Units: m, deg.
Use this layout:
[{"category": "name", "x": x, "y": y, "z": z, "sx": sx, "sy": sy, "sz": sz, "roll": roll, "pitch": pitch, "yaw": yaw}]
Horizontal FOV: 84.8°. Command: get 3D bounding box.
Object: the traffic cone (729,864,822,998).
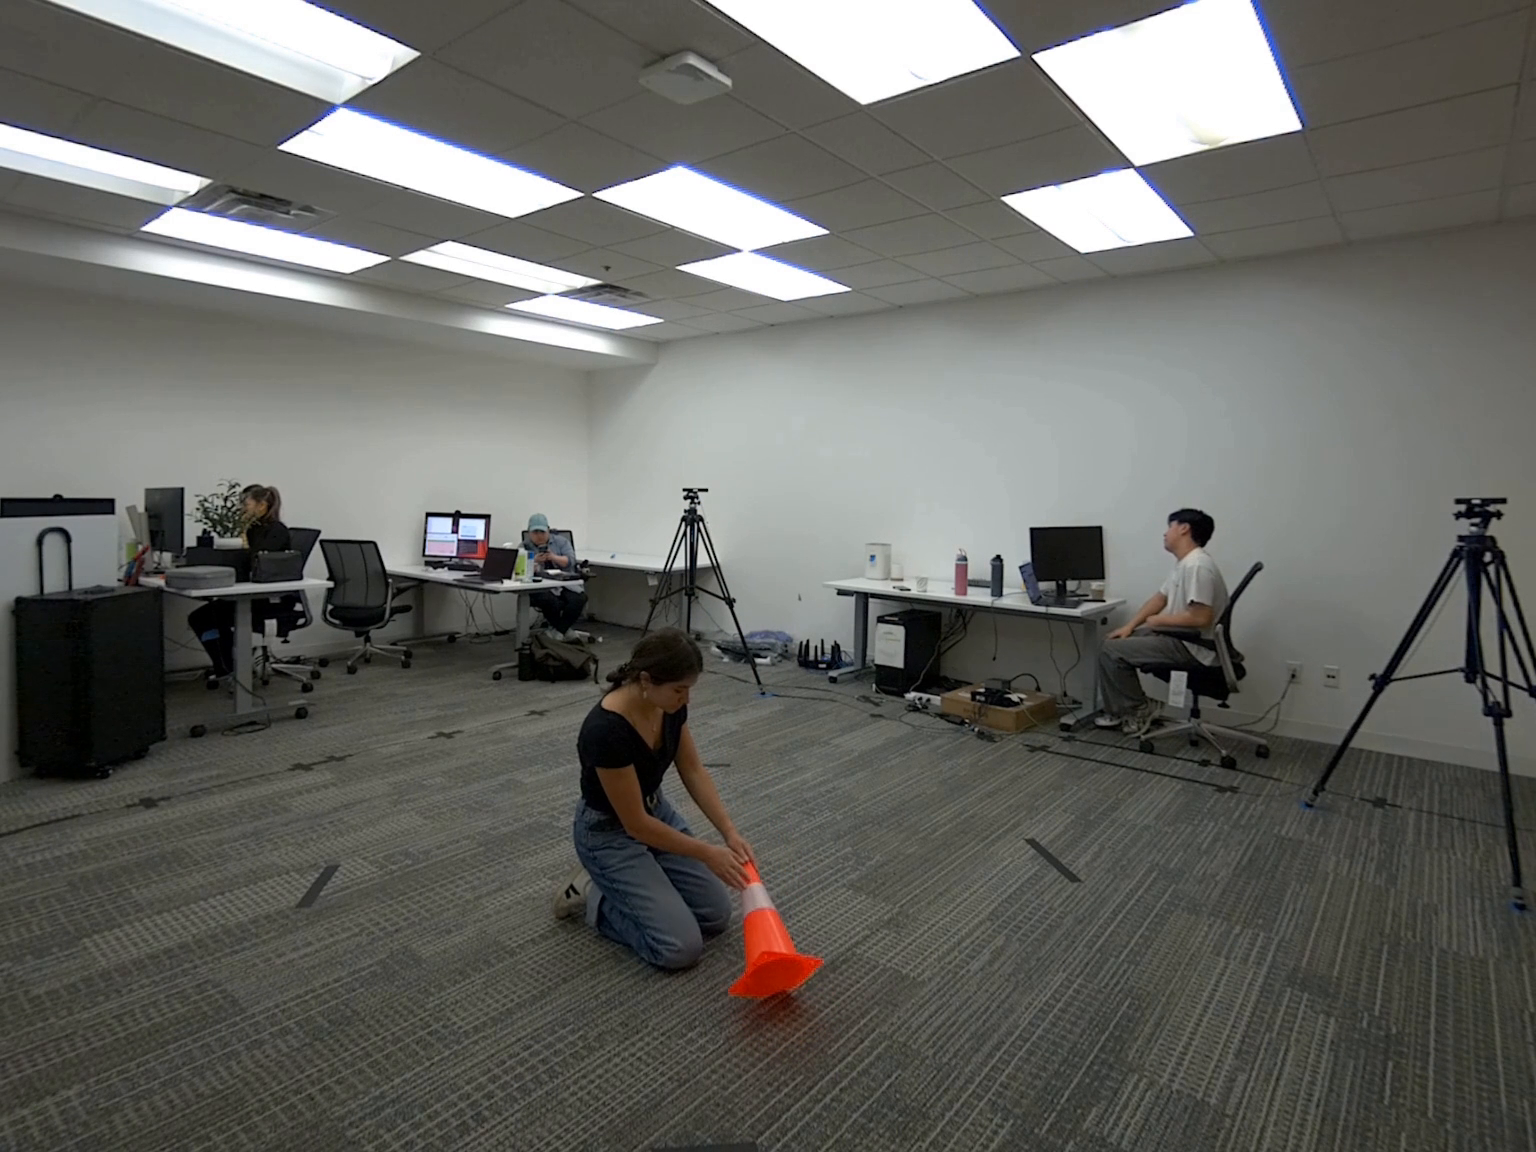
[{"category": "traffic cone", "x": -0.023, "y": 0.958, "z": 2.419, "sx": 0.199, "sy": 0.202, "sz": 0.397, "roll": 22, "pitch": 25, "yaw": -26}]
